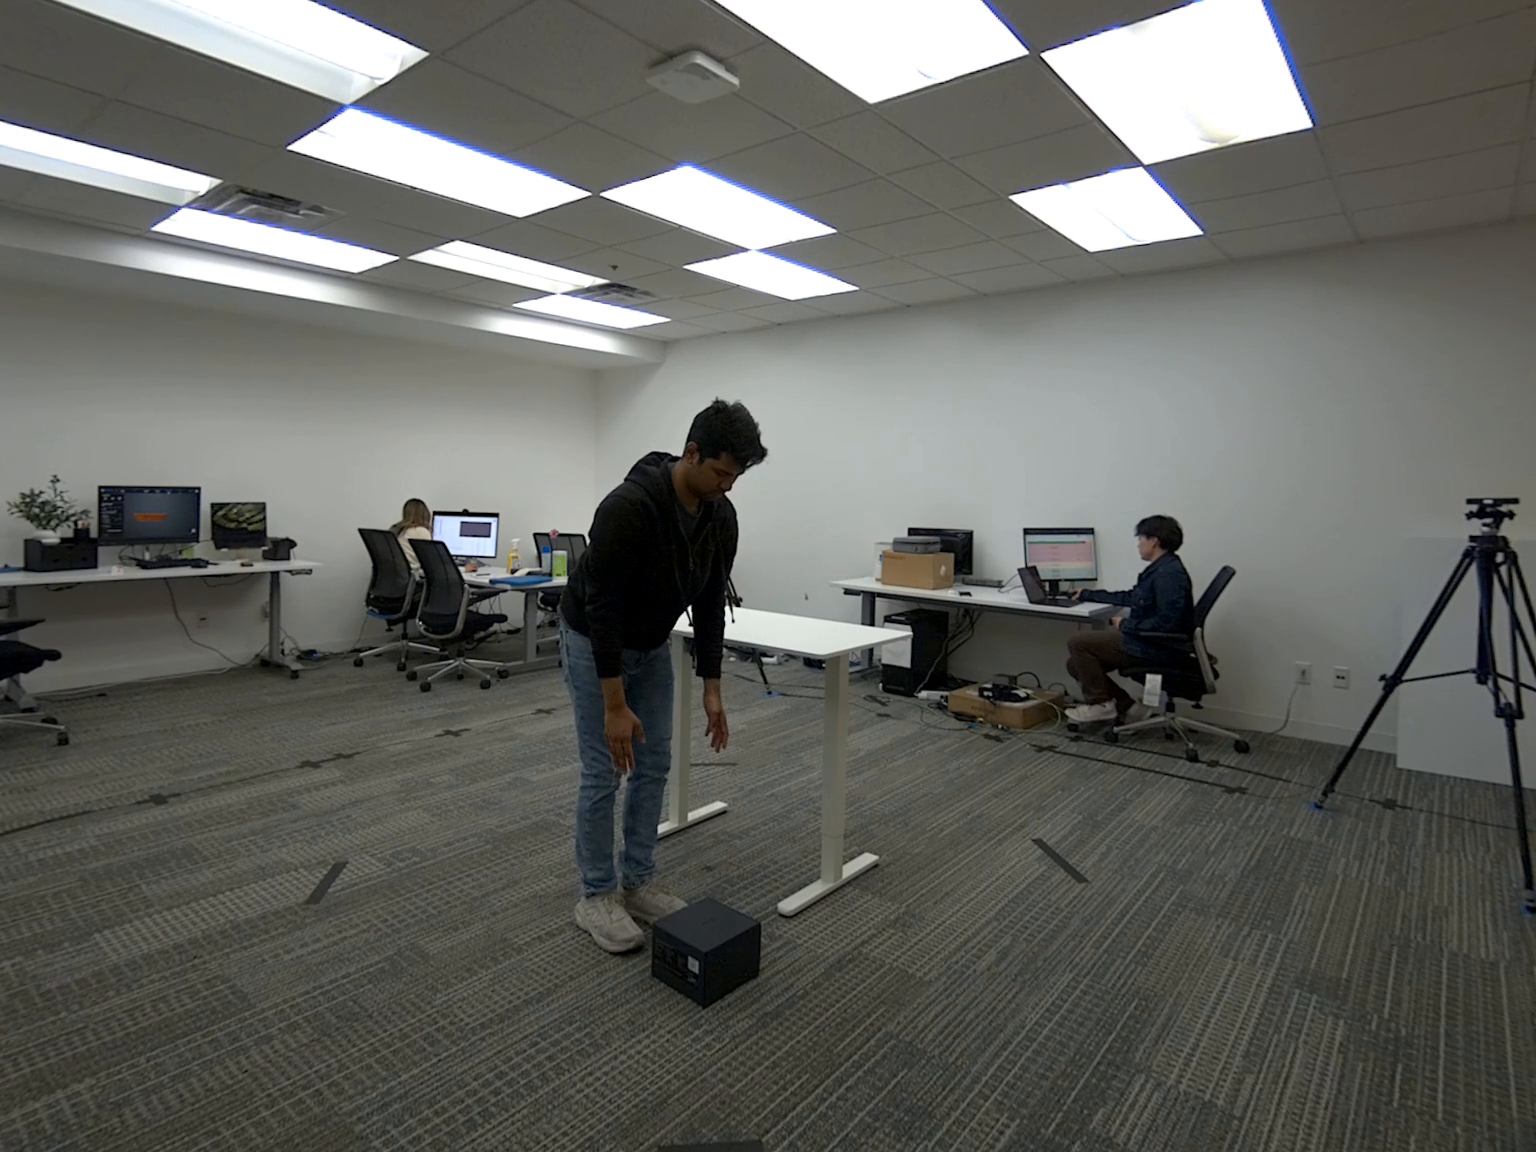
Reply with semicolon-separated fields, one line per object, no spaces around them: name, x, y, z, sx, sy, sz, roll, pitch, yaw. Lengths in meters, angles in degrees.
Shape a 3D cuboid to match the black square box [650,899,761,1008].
black square box;-0.182;1.050;2.418;0.224;0.155;0.221;6;7;41
